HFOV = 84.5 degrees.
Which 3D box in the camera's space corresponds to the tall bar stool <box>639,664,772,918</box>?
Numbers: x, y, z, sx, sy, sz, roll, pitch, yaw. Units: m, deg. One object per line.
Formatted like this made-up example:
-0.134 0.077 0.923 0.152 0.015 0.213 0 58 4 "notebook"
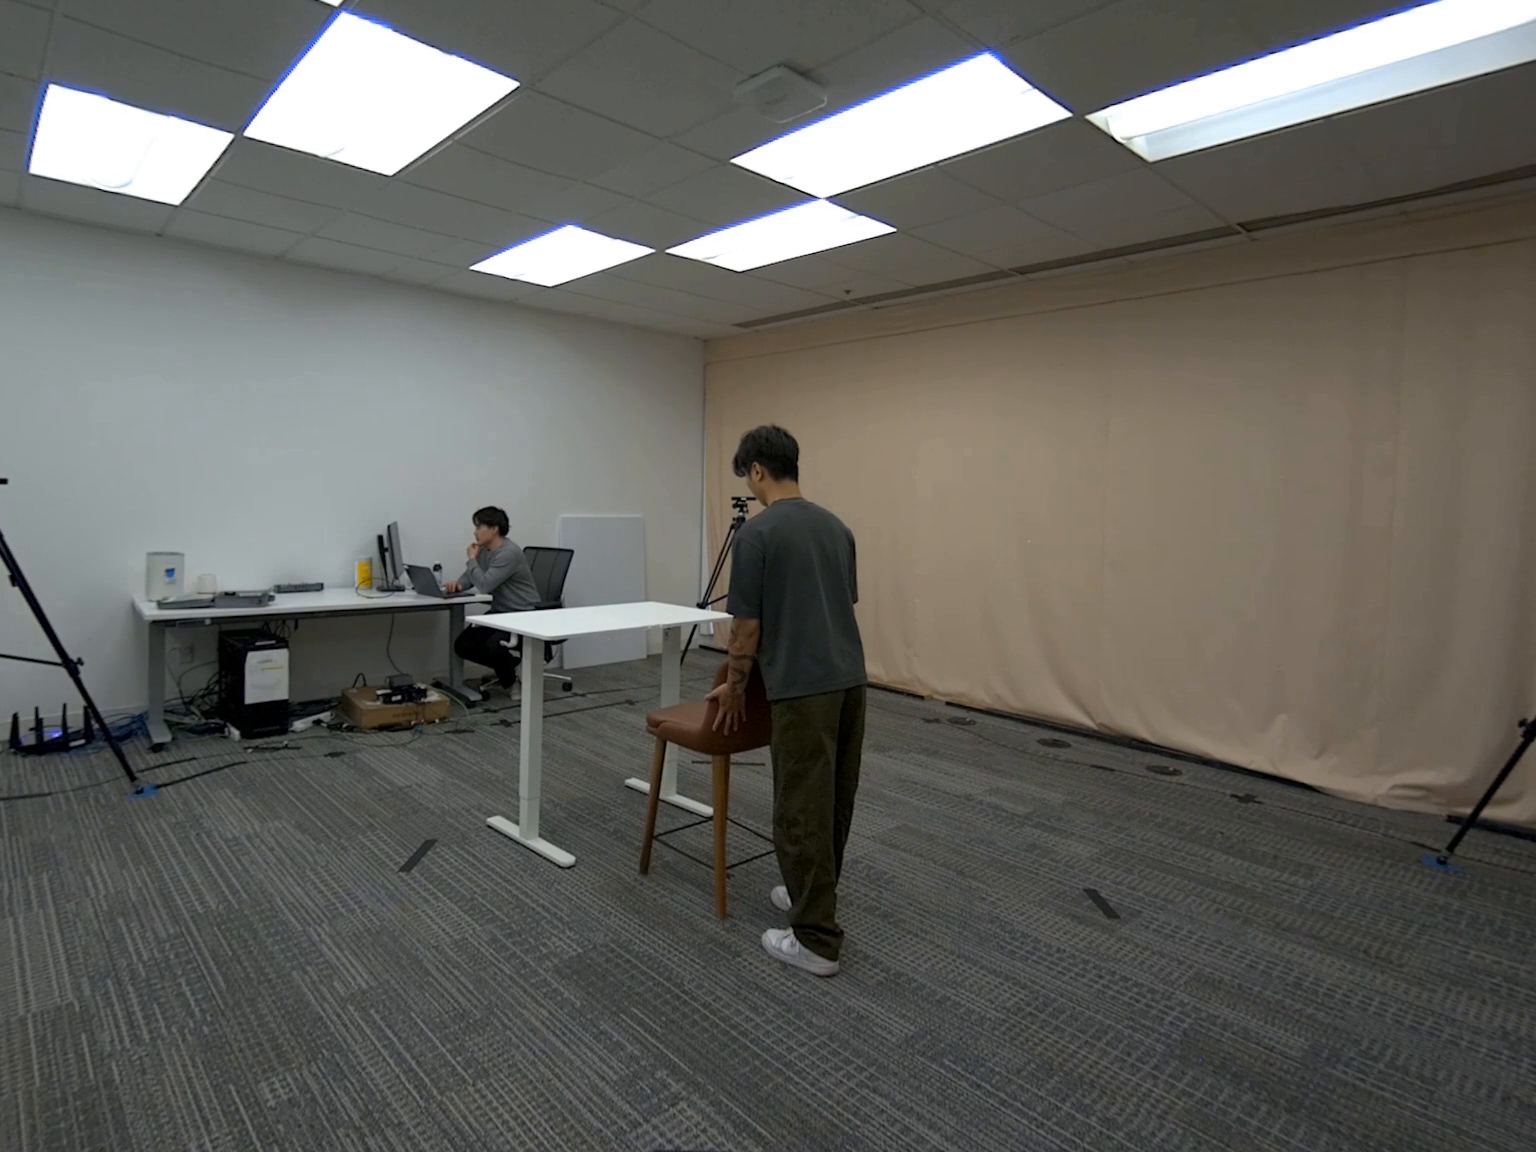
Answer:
-0.167 0.676 3.041 0.446 0.887 0.480 -1 6 -43 "tall bar stool"
